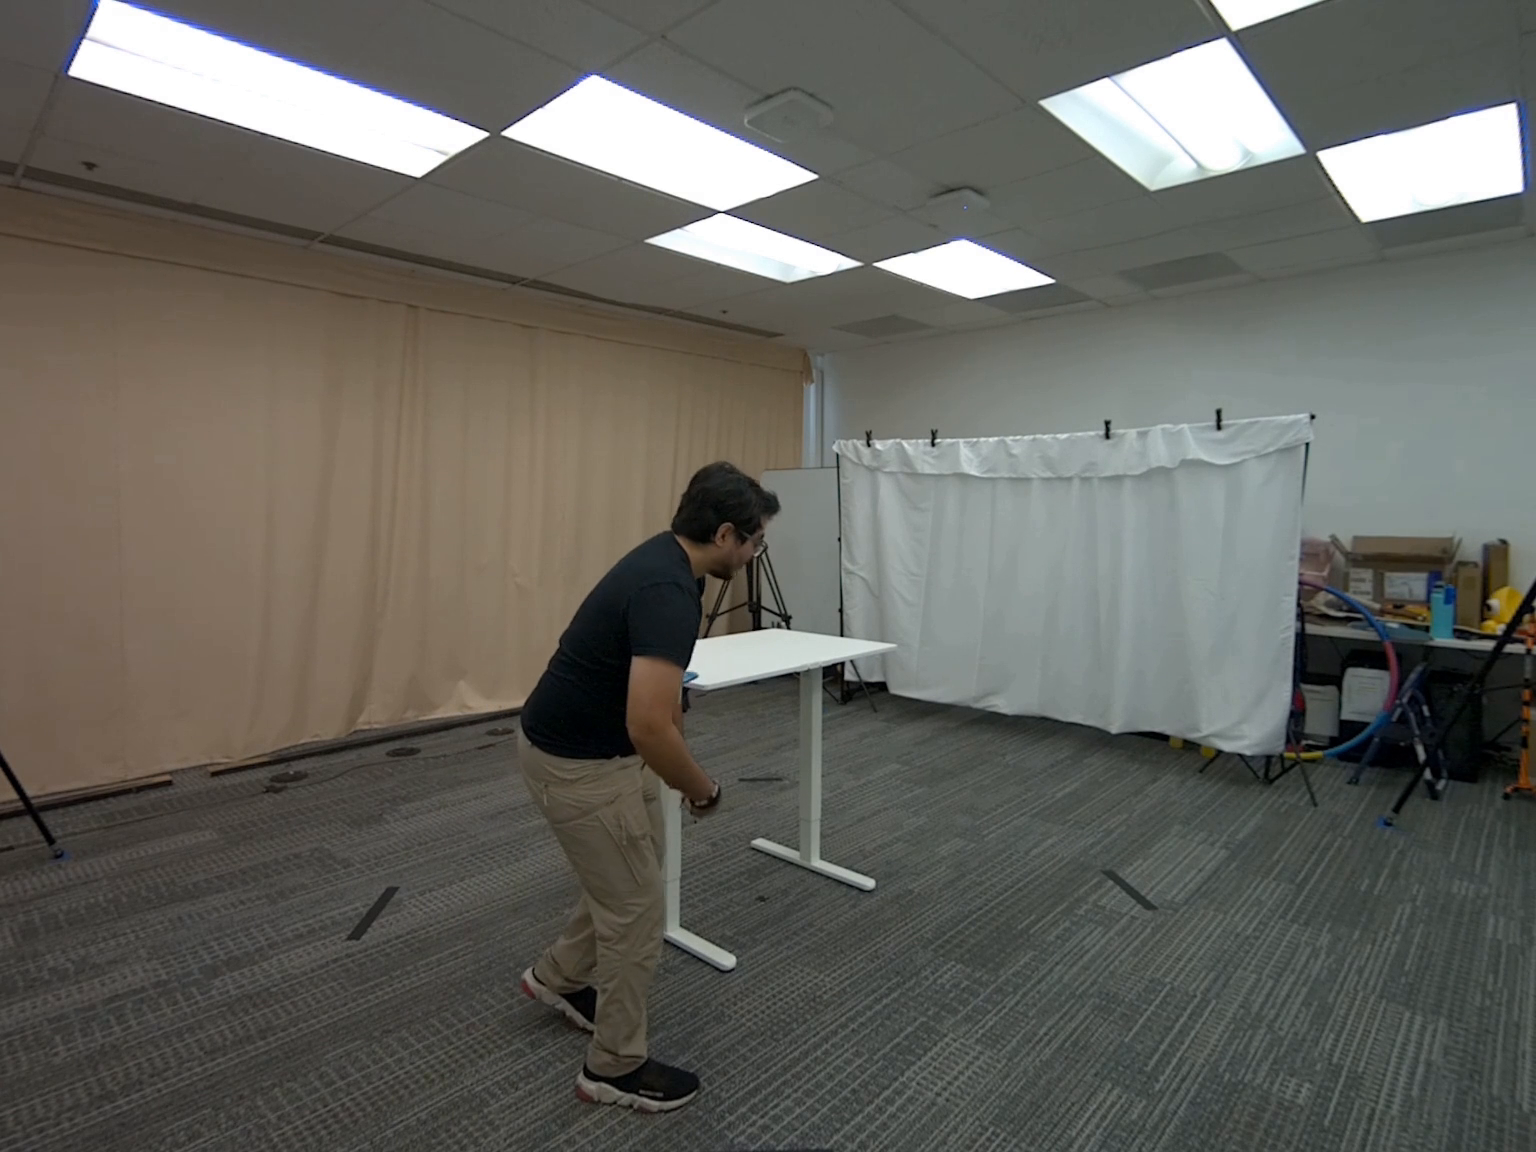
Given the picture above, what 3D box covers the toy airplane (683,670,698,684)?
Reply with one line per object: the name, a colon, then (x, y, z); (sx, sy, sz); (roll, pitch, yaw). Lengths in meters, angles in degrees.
toy airplane: (-0.309, 0.250, 2.223); (0.265, 0.250, 0.153); (42, 37, 20)
